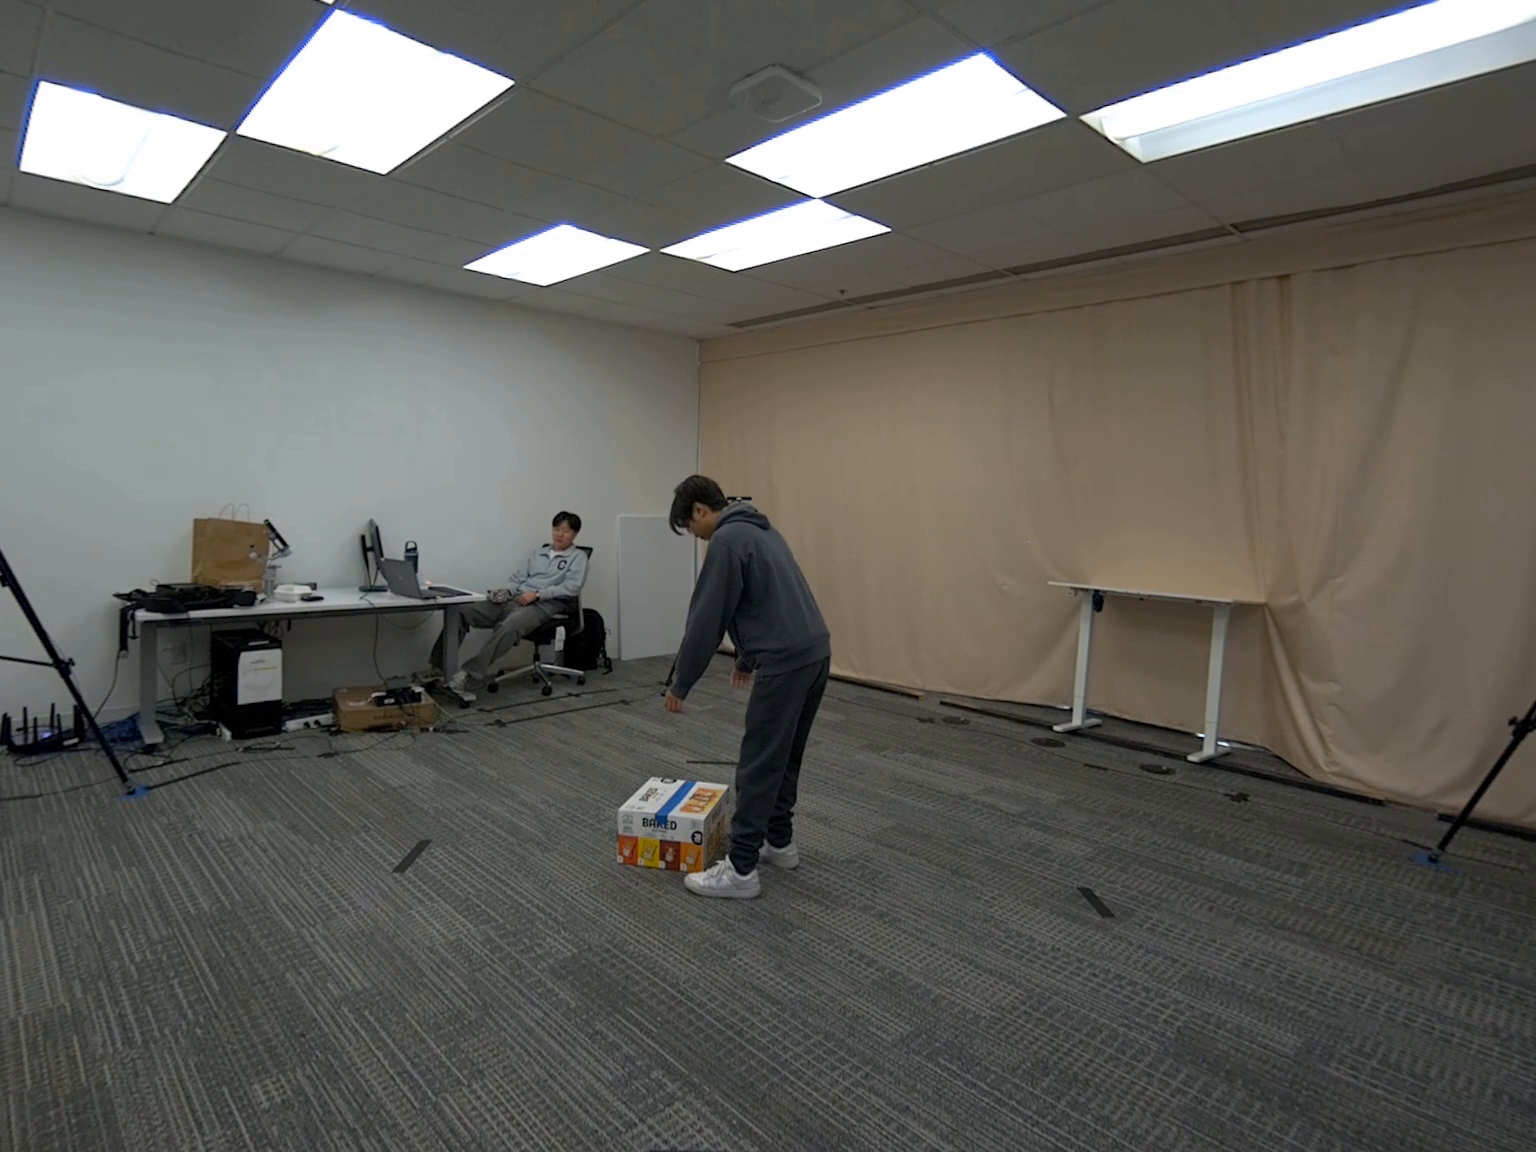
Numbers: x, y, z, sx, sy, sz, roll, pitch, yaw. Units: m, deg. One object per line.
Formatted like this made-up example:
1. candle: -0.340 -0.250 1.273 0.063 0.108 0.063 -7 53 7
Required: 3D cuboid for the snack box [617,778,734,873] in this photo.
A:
1. snack box: -0.374 0.978 3.338 0.344 0.205 0.402 3 5 12
